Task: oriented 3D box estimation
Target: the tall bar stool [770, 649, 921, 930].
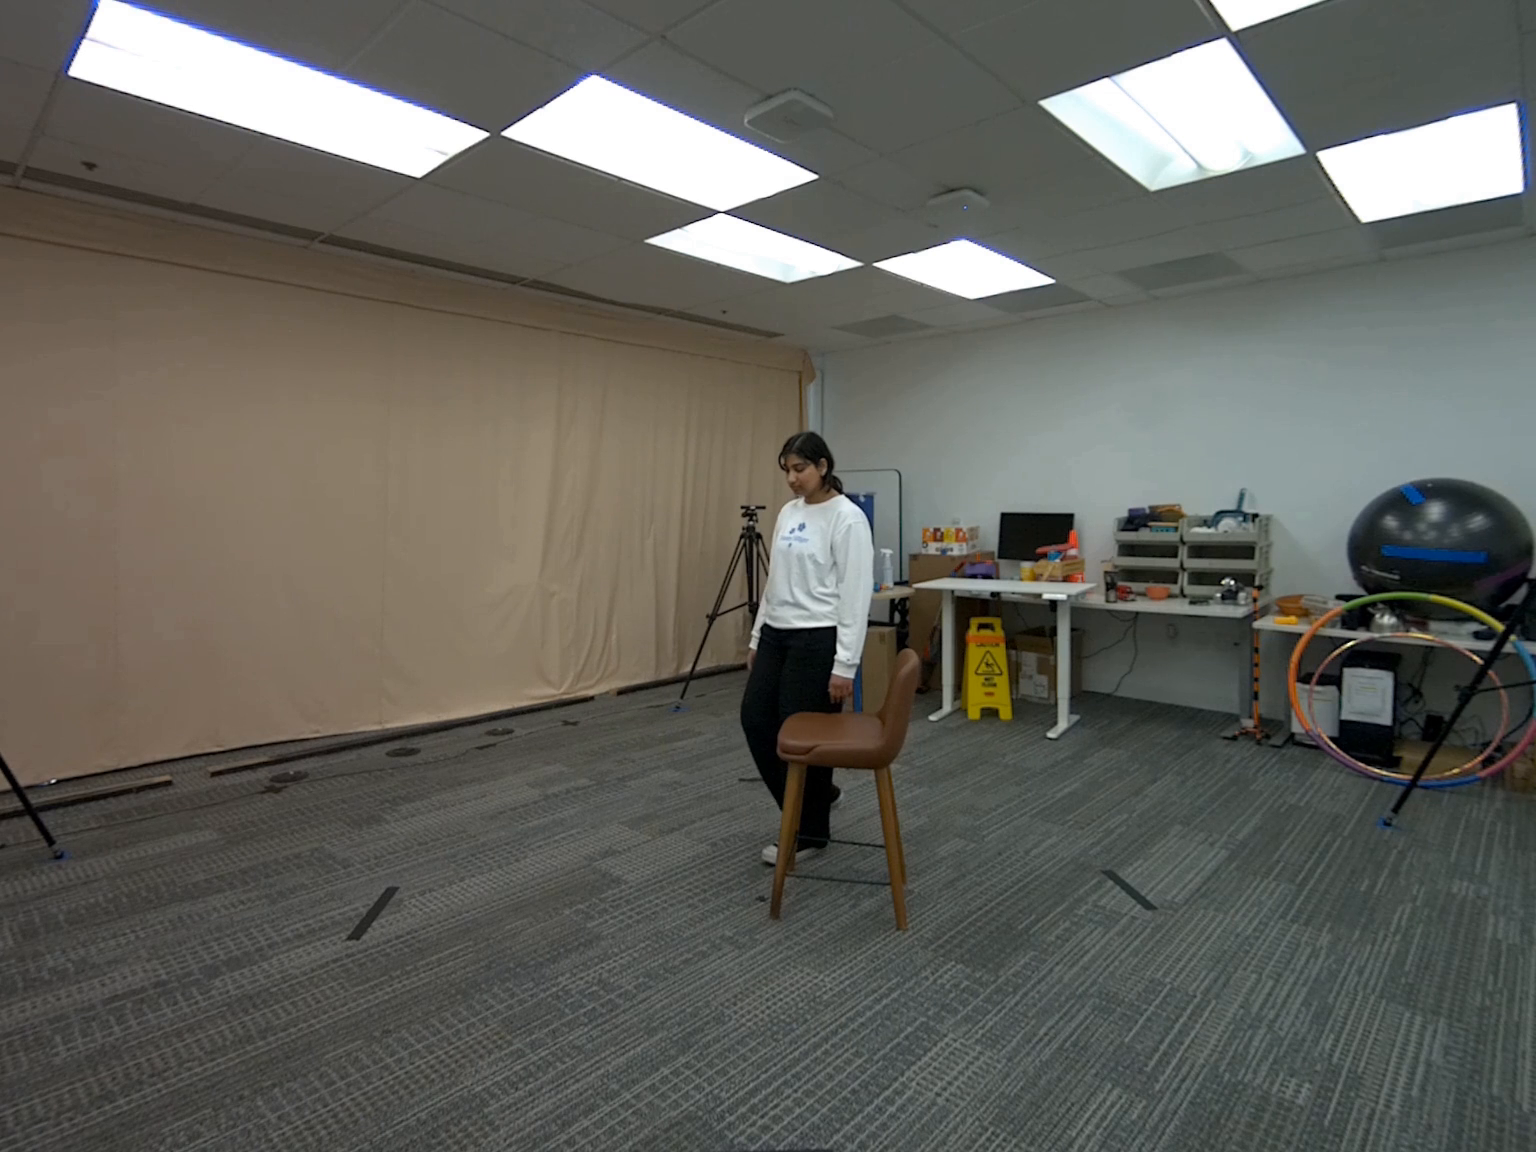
[{"bbox_3d":[0.278,0.710,2.959,0.474,0.887,0.451,2,4,11],"label":"tall bar stool"}]
